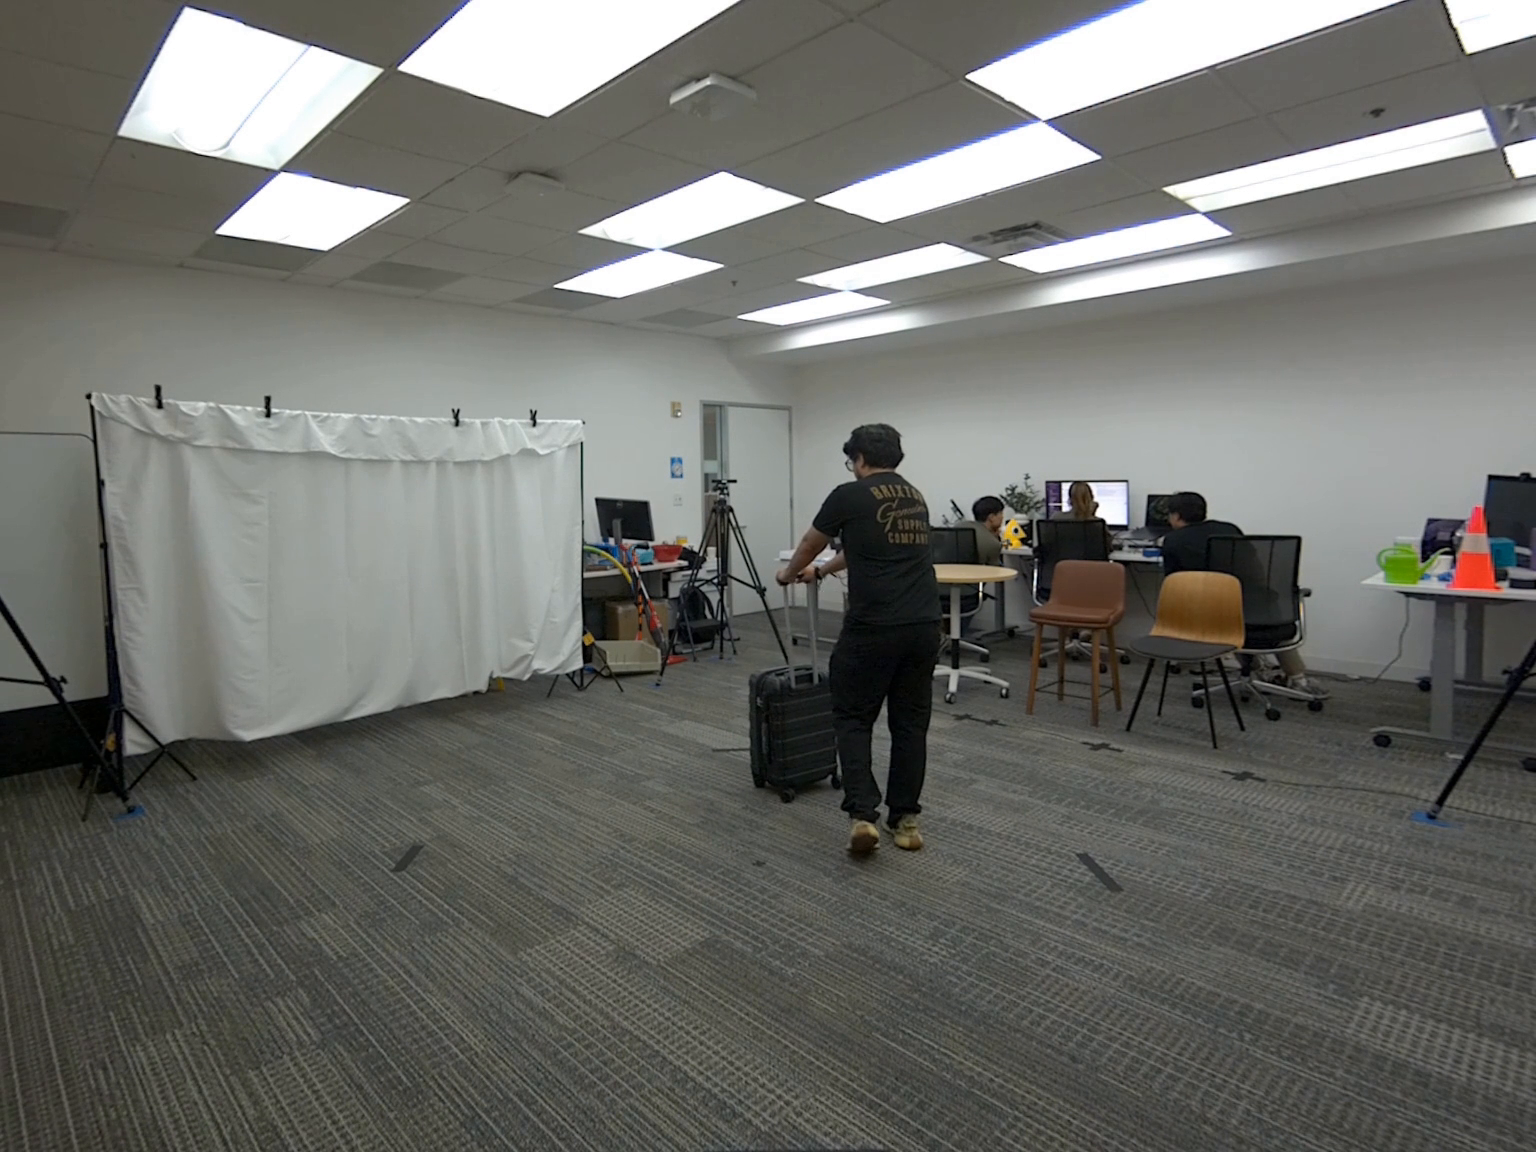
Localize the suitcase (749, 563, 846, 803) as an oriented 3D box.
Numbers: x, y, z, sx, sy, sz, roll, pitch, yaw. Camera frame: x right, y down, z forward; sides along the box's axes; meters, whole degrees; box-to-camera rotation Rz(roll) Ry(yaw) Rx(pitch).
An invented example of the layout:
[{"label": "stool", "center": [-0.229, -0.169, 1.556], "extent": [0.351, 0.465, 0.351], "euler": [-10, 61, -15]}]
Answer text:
[{"label": "suitcase", "center": [0.096, 0.487, 3.881], "extent": [0.375, 0.978, 0.263], "euler": [-4, 1, -31]}]
